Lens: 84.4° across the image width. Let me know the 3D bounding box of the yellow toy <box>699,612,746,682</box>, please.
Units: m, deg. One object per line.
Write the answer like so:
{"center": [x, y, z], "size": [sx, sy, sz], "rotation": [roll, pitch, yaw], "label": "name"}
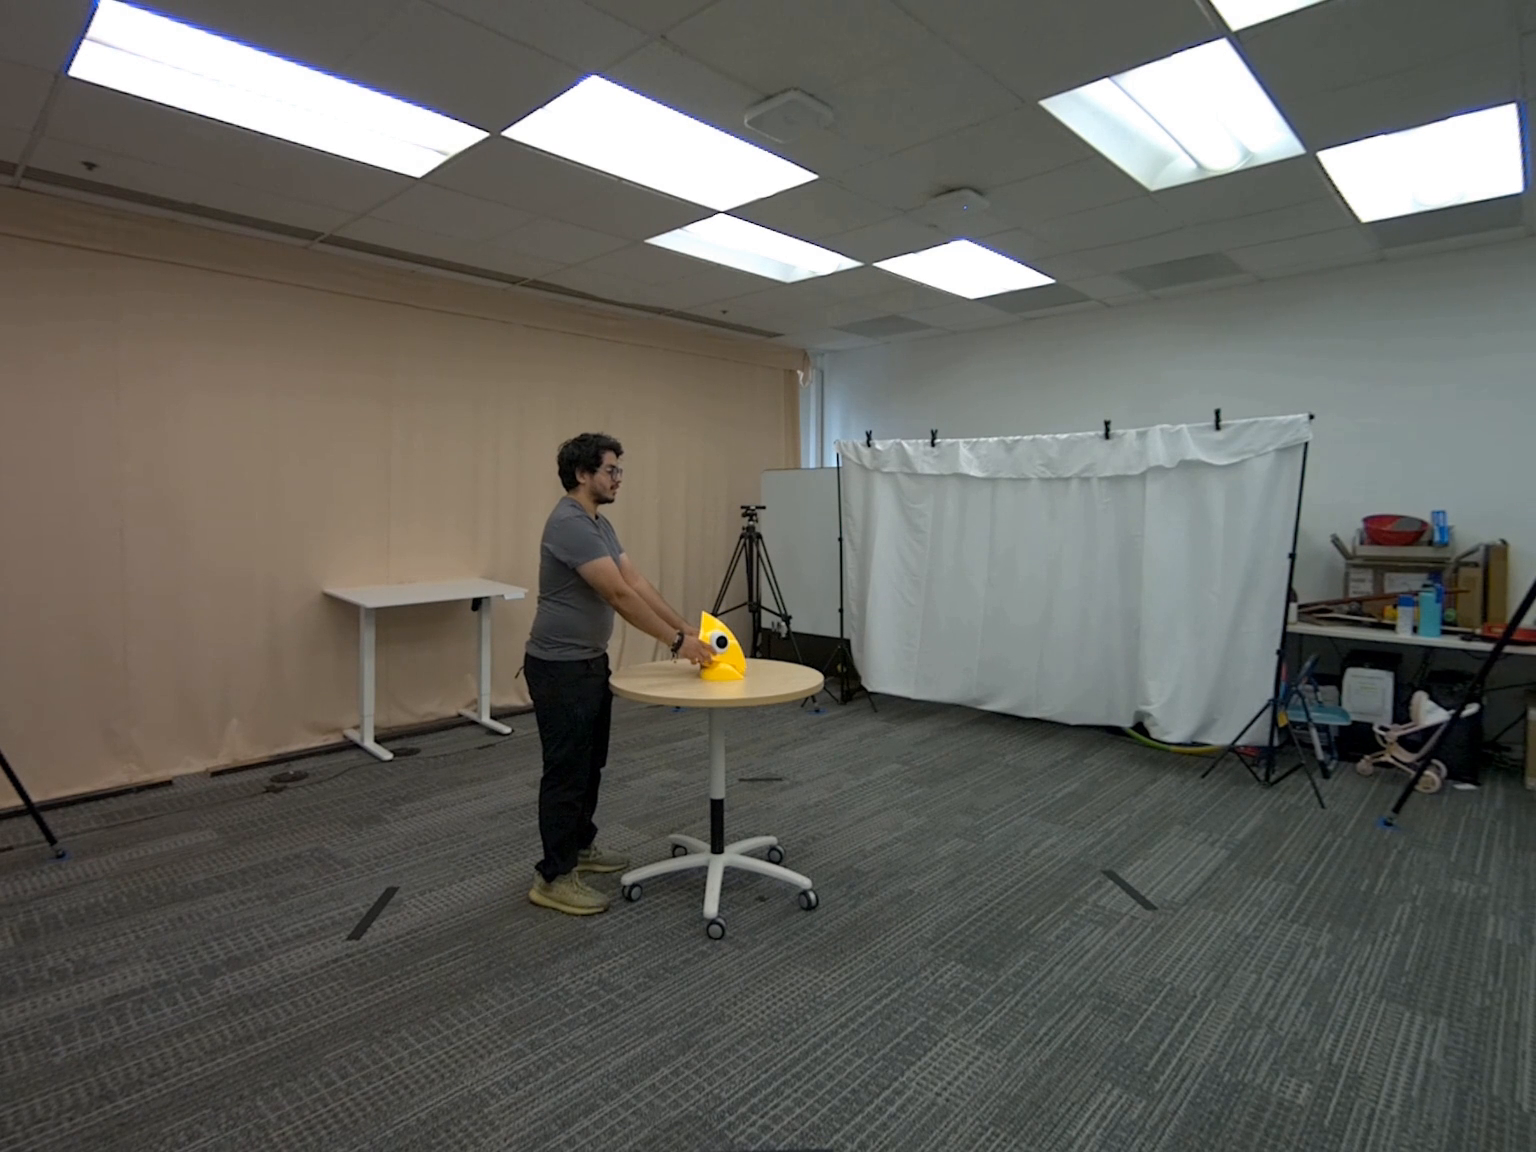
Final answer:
{"center": [-0.172, 0.243, 3.029], "size": [0.194, 0.230, 0.204], "rotation": [1, 3, 3], "label": "yellow toy"}
